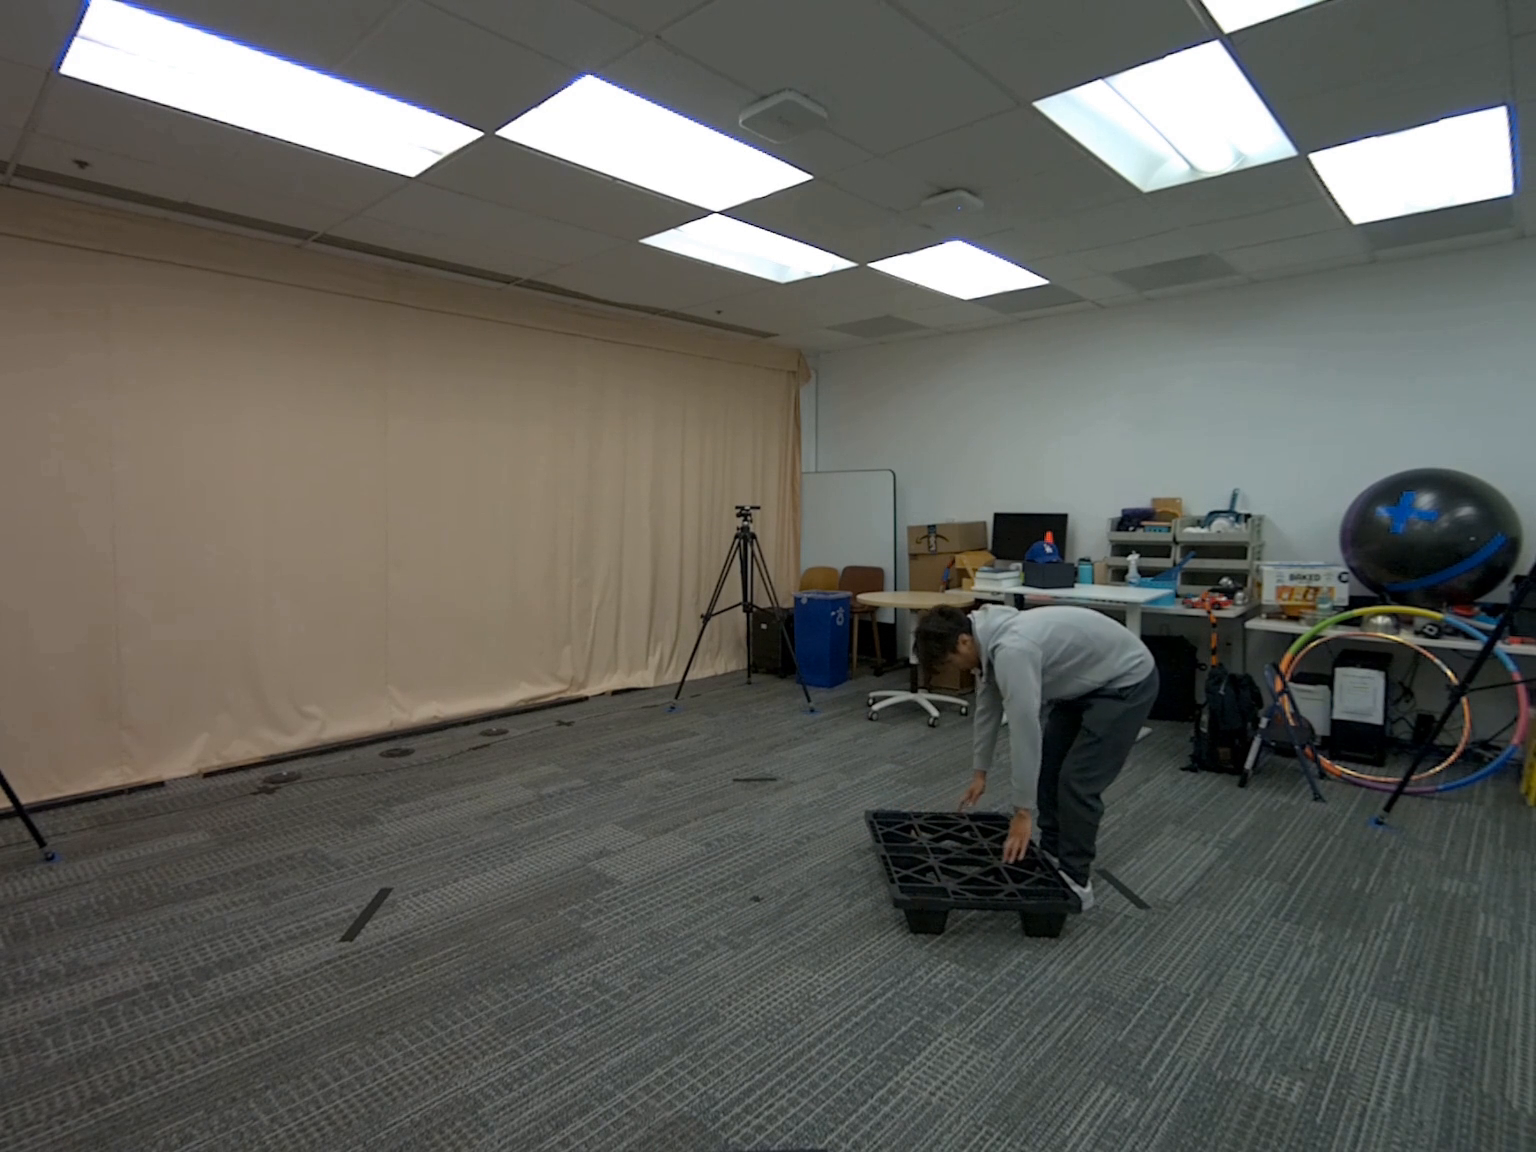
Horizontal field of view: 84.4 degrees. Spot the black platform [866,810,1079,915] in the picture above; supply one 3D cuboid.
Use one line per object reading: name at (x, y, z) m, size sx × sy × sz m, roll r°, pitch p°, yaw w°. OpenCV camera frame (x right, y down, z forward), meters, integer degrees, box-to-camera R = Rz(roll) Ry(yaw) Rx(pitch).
black platform at (0.705, 1.066, 3.081) m, size 0.607 × 0.143 × 0.805 m, roll 1°, pitch 5°, yaw 1°
